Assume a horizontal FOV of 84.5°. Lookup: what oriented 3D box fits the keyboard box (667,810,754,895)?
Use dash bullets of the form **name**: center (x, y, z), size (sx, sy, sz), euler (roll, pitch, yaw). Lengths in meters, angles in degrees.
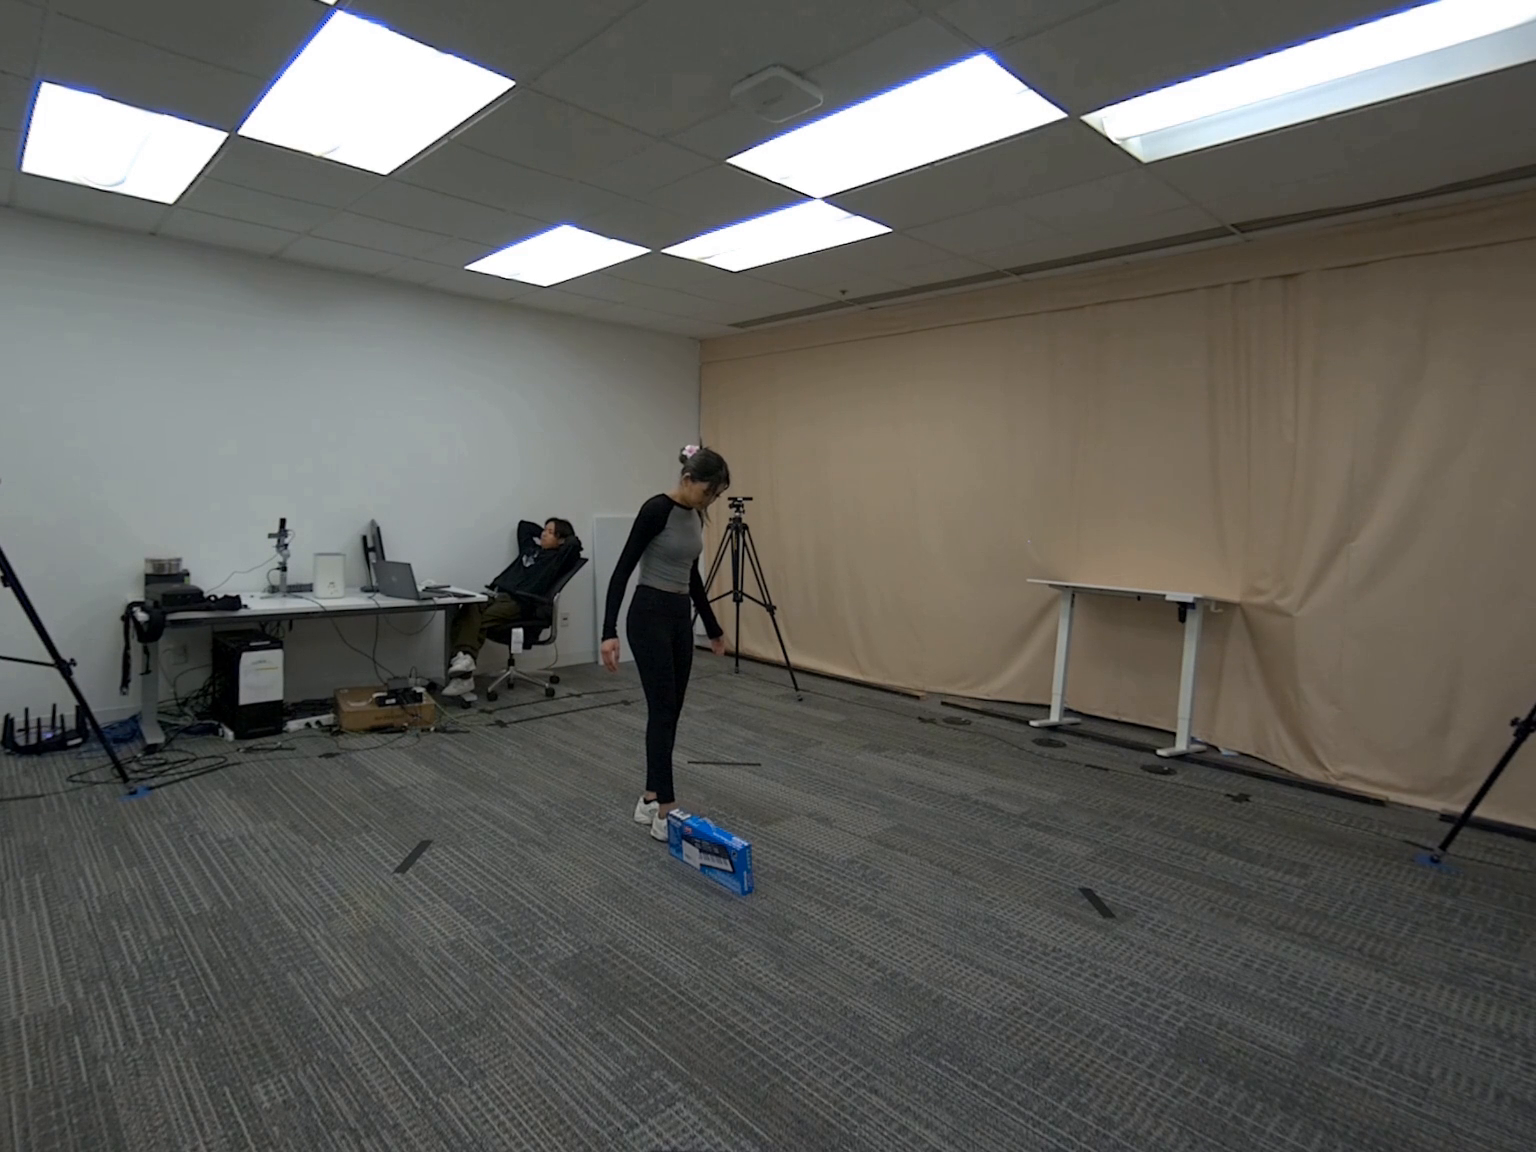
- **keyboard box**: center (-0.229, 1.019, 3.123), size (0.058, 0.175, 0.448), euler (-10, 11, -40)
